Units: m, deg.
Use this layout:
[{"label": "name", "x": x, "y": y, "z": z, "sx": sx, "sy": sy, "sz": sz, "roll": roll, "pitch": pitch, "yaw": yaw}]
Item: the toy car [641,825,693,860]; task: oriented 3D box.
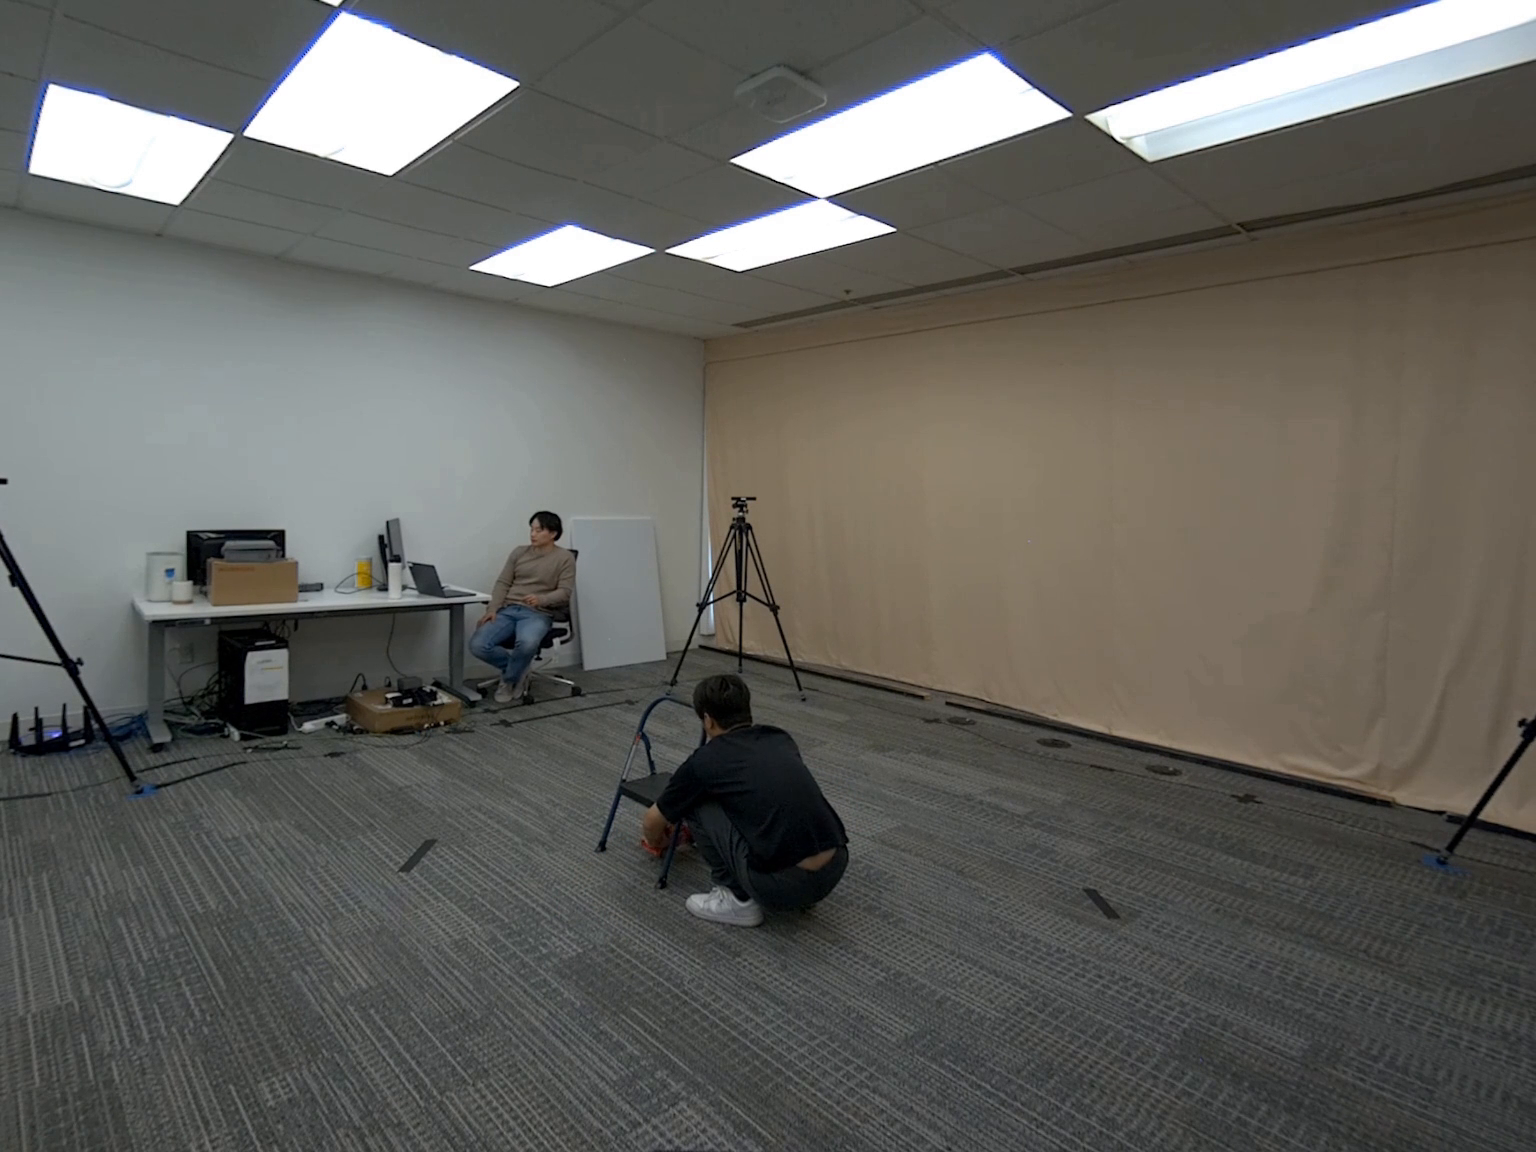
[{"label": "toy car", "x": -0.362, "y": 1.018, "z": 3.282, "sx": 0.134, "sy": 0.082, "sz": 0.252, "roll": 8, "pitch": 28, "yaw": 39}]
